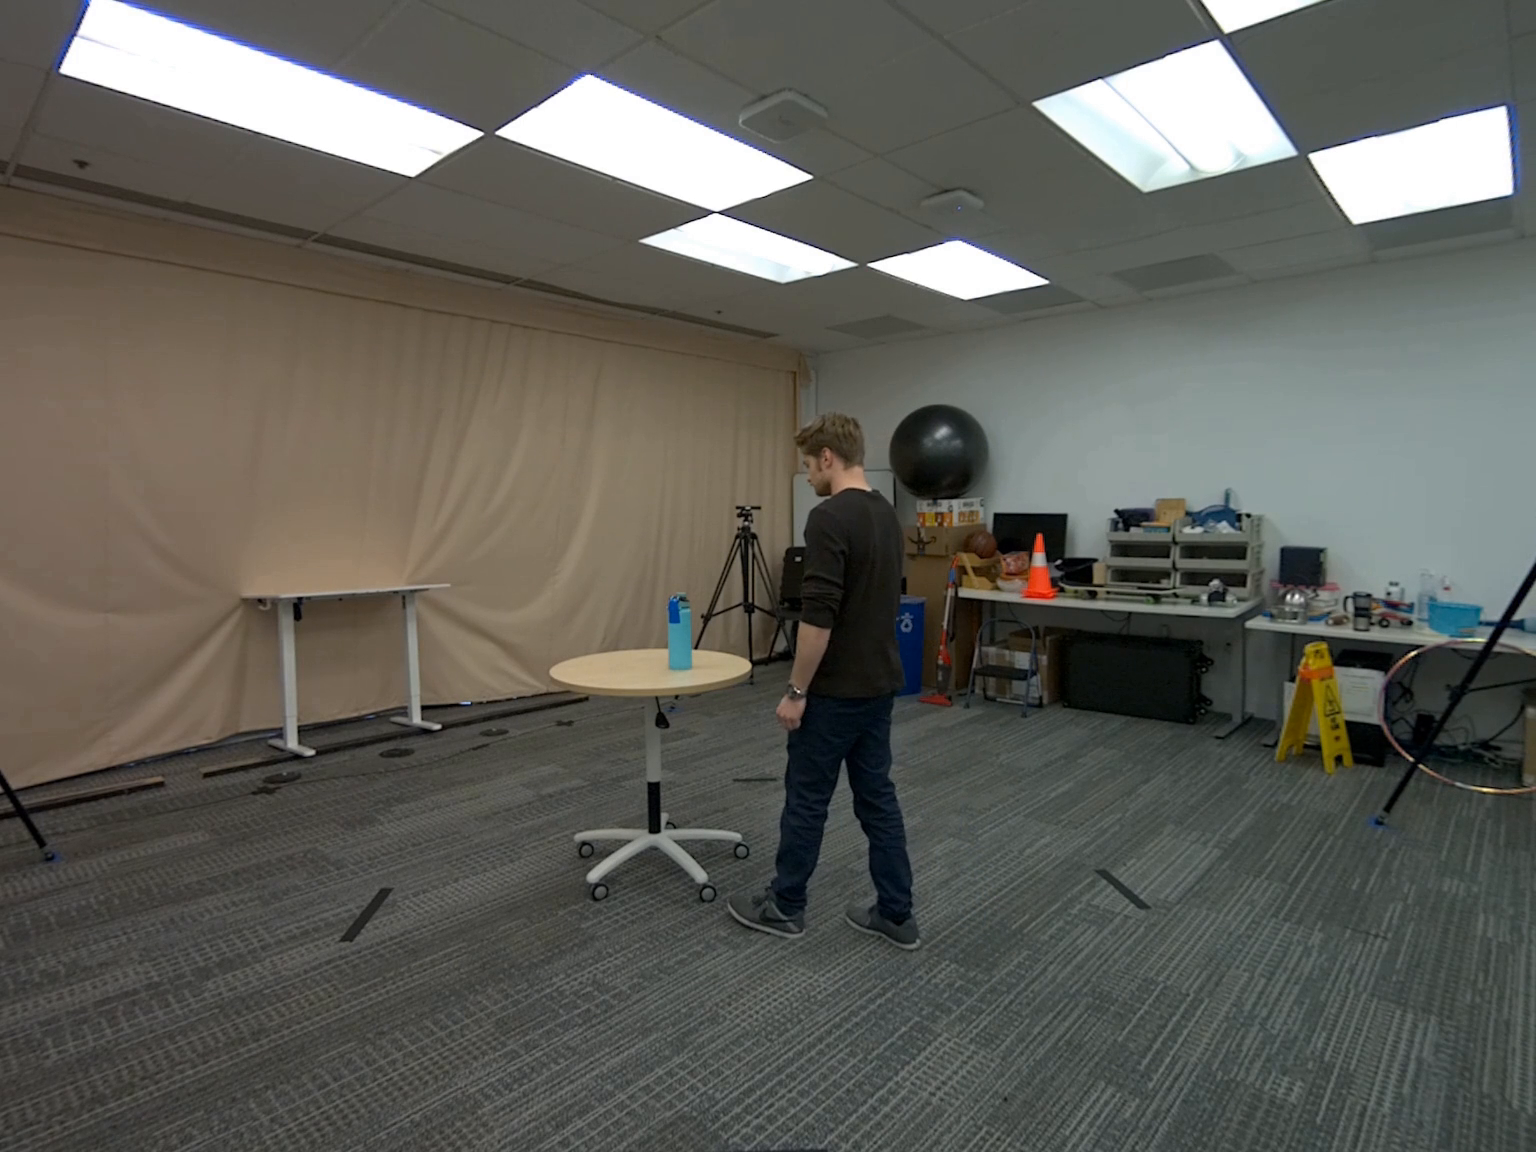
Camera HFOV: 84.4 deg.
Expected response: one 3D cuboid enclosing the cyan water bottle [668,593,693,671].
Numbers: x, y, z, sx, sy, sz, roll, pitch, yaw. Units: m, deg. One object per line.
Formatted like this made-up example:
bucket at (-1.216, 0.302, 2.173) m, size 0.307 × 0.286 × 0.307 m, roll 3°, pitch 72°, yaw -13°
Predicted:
cyan water bottle at (-0.339, 0.209, 3.169) m, size 0.092 × 0.283 × 0.092 m, roll -3°, pitch 3°, yaw -2°
